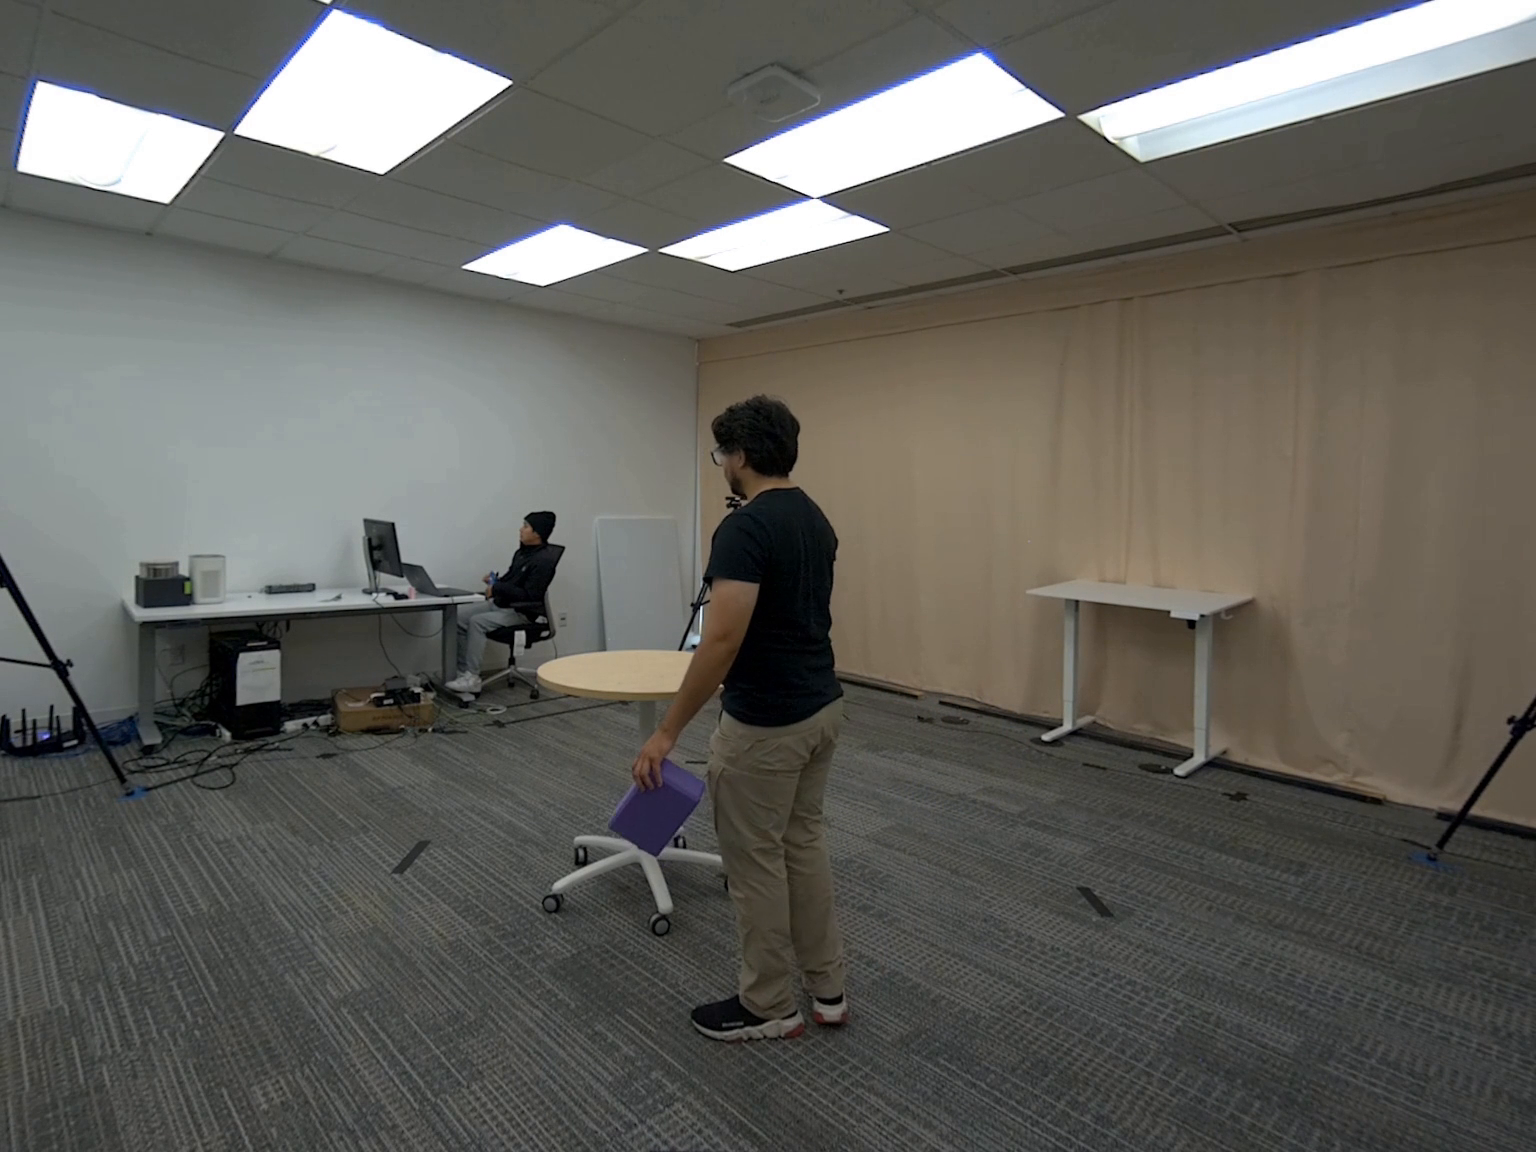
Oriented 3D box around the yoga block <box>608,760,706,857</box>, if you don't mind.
[{"bbox_3d":[-0.271,0.561,2.066,0.149,0.228,0.077,33,25,-2],"label":"yoga block"}]
